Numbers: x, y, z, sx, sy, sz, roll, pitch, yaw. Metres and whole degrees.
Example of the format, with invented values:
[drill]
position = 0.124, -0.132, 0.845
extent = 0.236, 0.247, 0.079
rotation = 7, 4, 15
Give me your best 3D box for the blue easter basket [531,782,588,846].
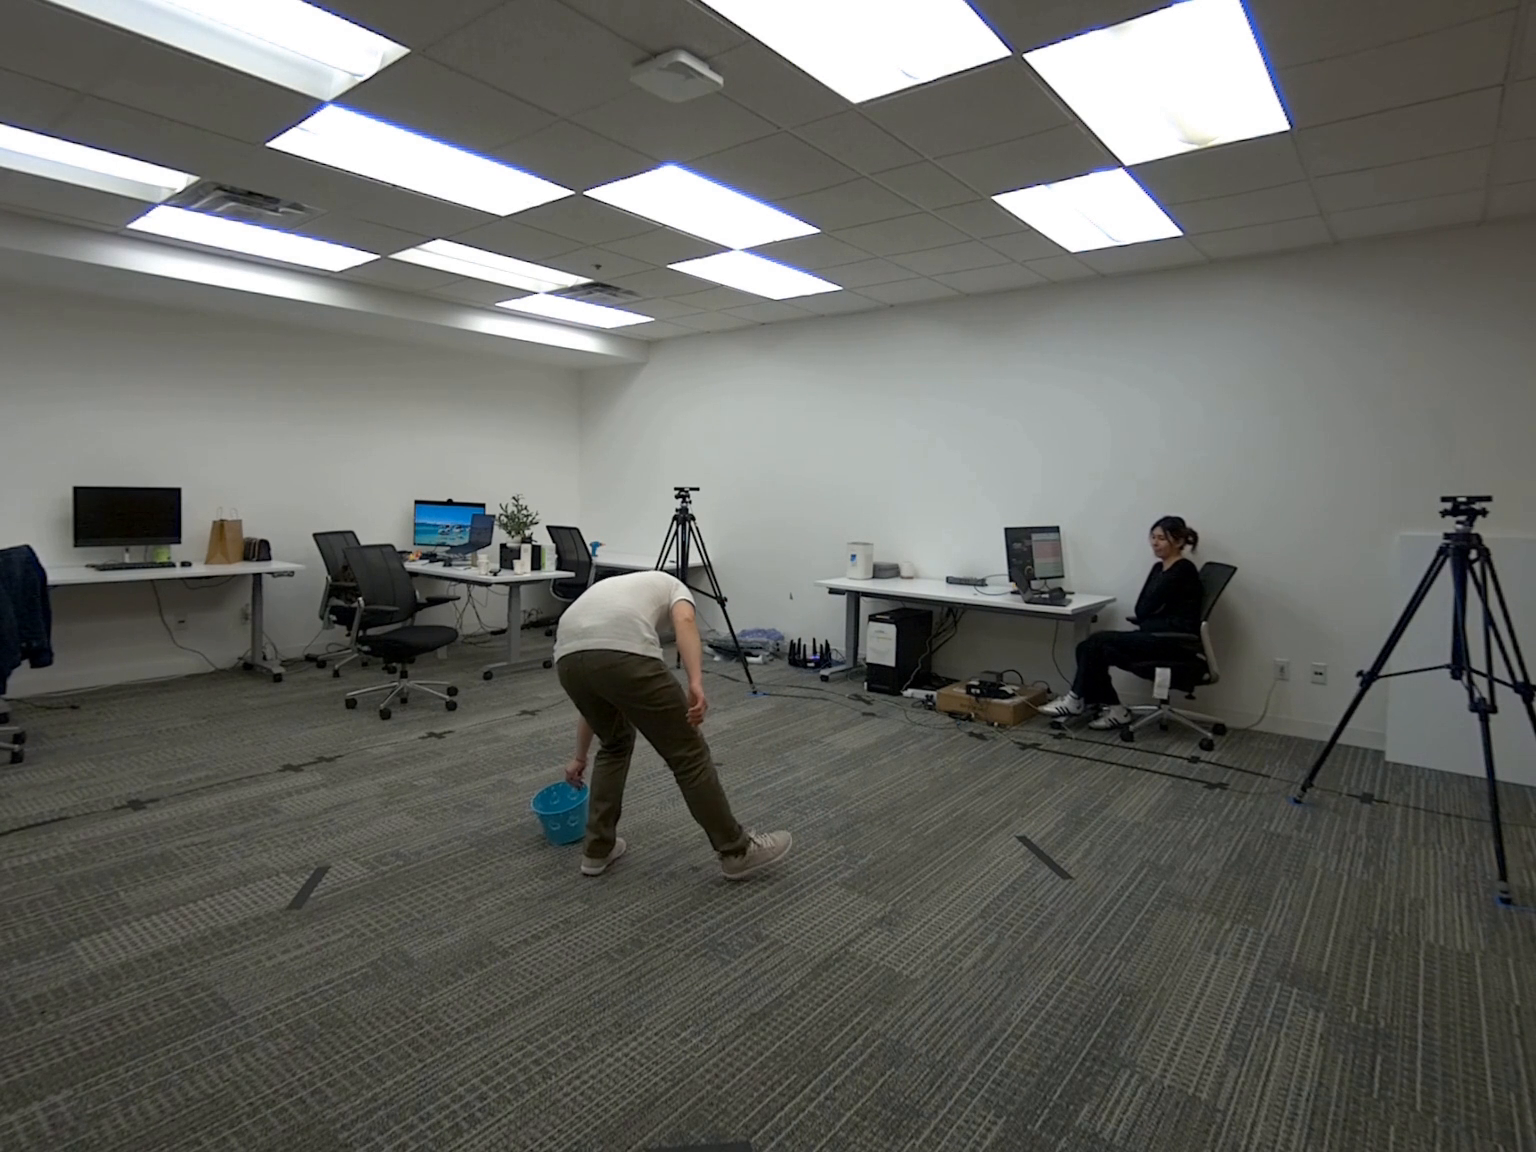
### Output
[blue easter basket]
position = -0.812, 0.936, 3.366
extent = 0.244, 0.153, 0.247
rotation = -10, 16, 1
